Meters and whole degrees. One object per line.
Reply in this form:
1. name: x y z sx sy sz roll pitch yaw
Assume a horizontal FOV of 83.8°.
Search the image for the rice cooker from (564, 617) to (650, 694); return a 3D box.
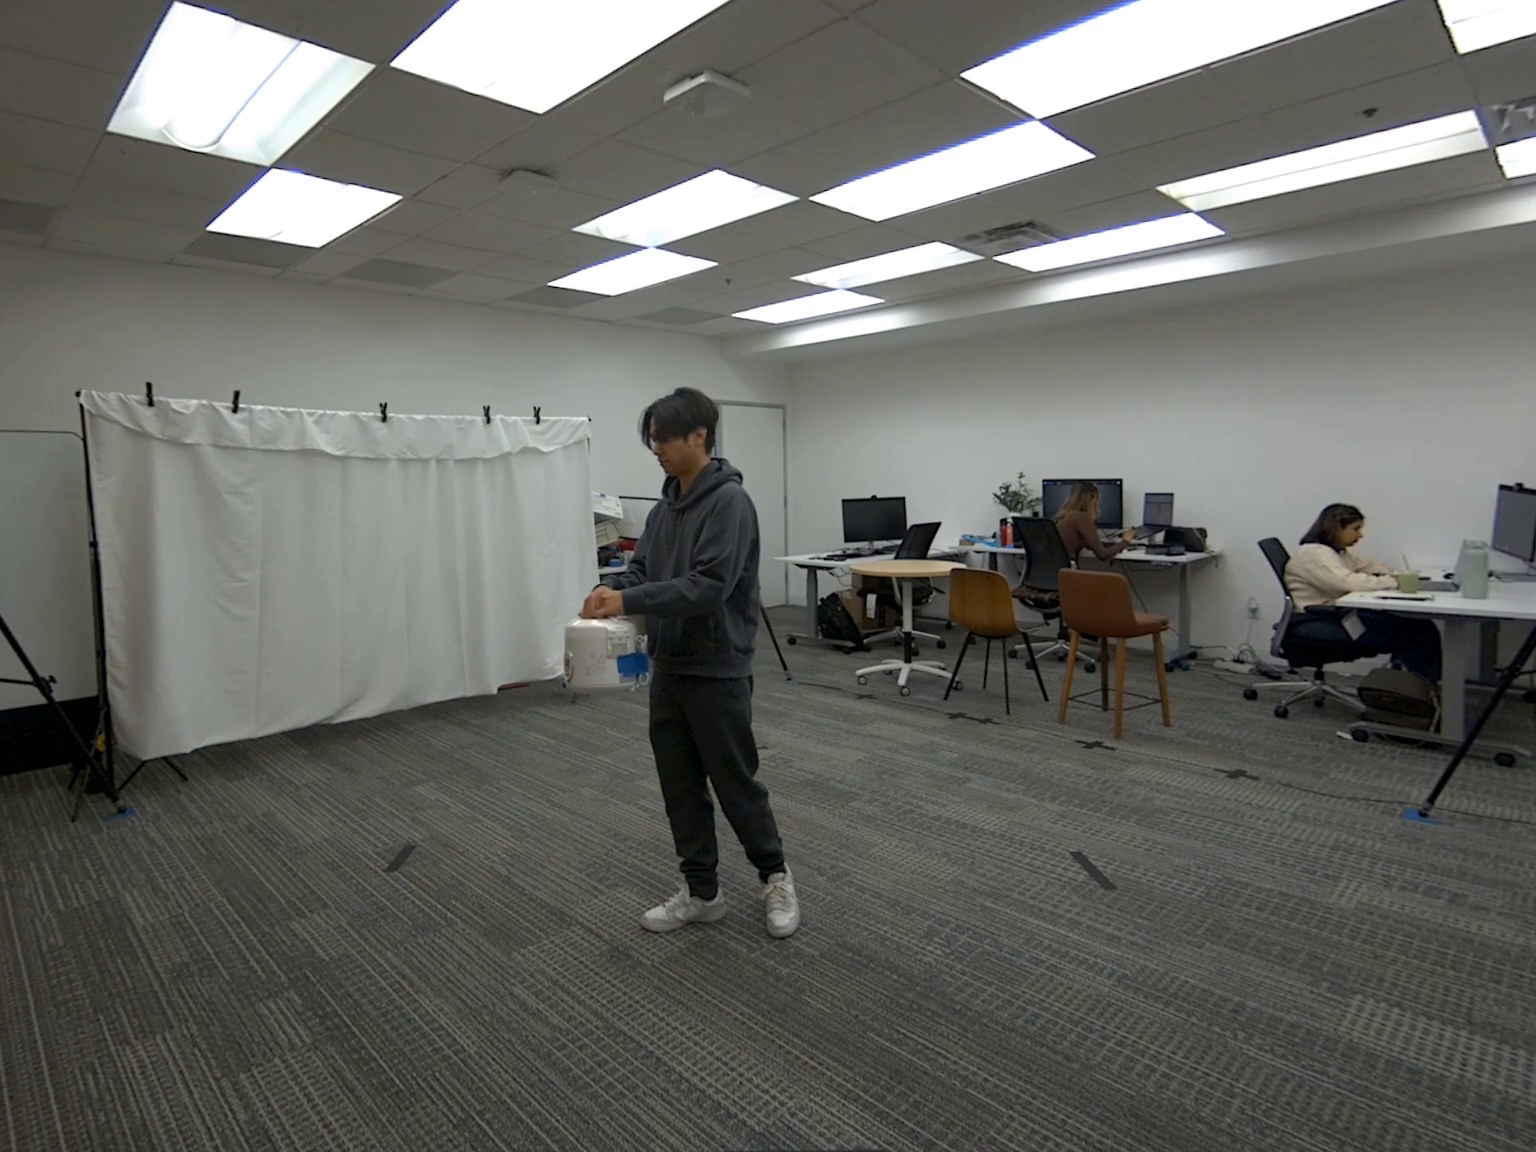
1. rice cooker: -0.473 0.214 2.429 0.211 0.233 0.226 1 -2 -35
